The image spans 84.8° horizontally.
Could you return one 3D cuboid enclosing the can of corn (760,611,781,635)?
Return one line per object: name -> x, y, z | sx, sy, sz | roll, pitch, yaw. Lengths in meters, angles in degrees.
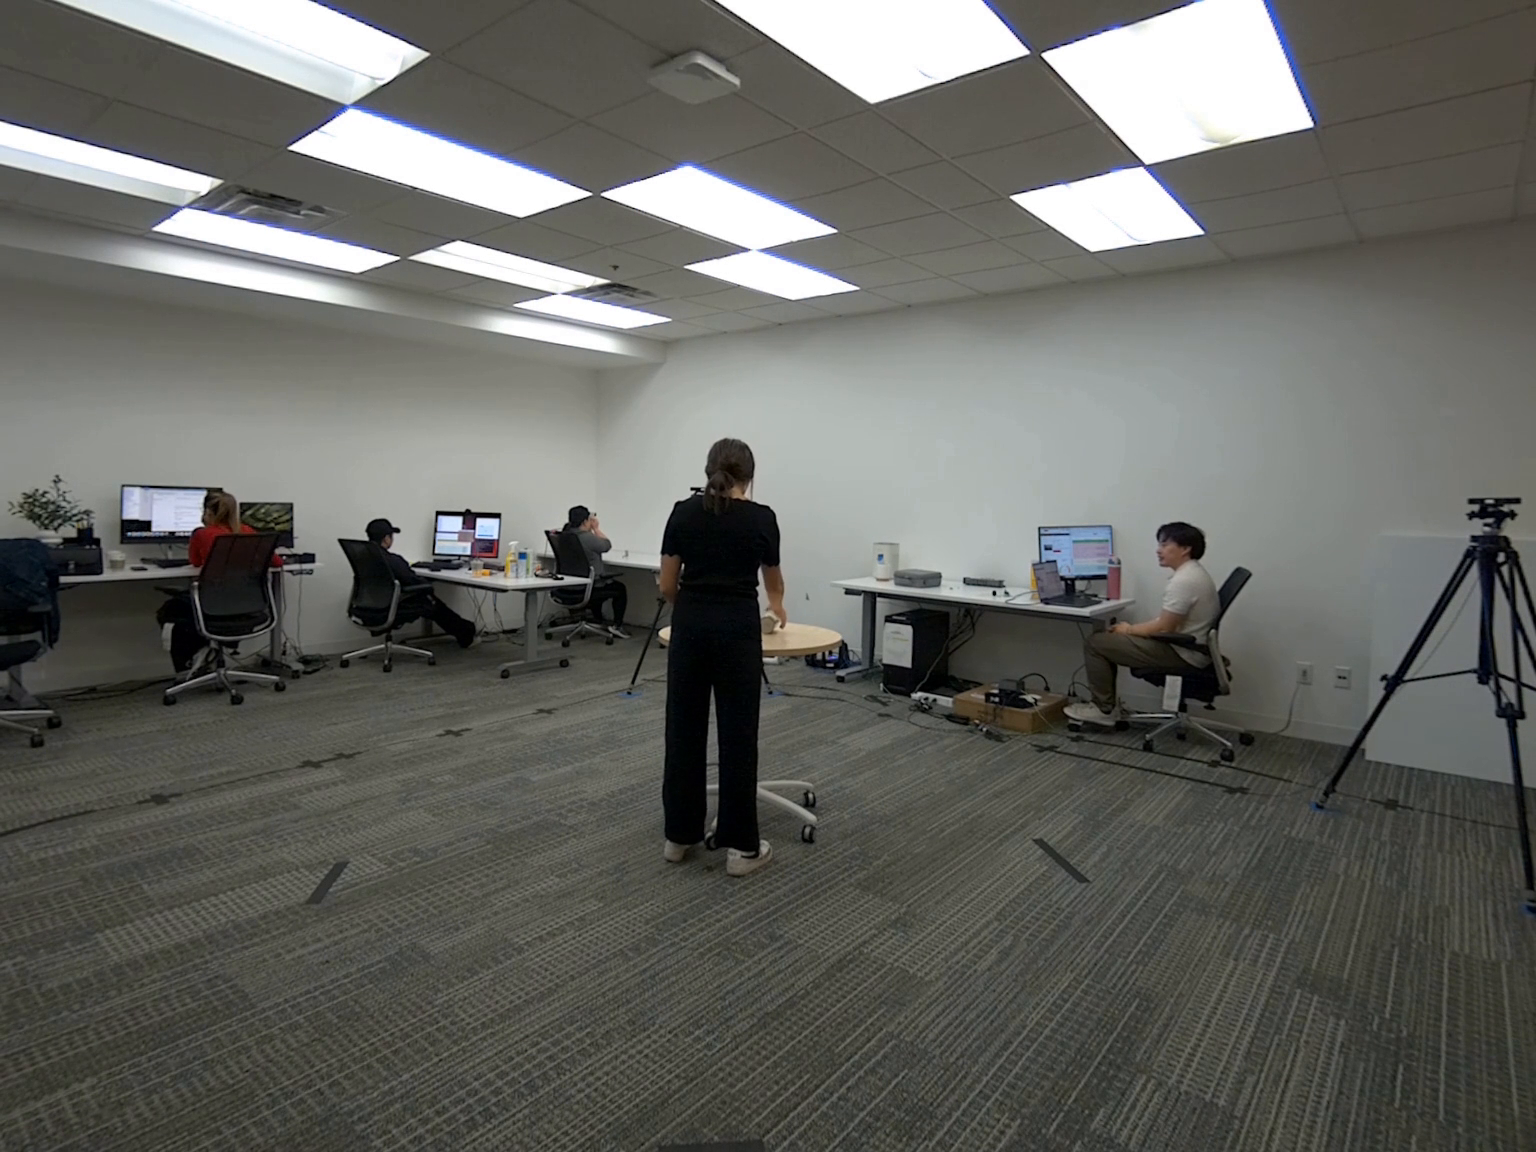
can of corn -> -0.012, 0.195, 3.640 | 0.075, 0.074, 0.111 | 1, 8, 8
